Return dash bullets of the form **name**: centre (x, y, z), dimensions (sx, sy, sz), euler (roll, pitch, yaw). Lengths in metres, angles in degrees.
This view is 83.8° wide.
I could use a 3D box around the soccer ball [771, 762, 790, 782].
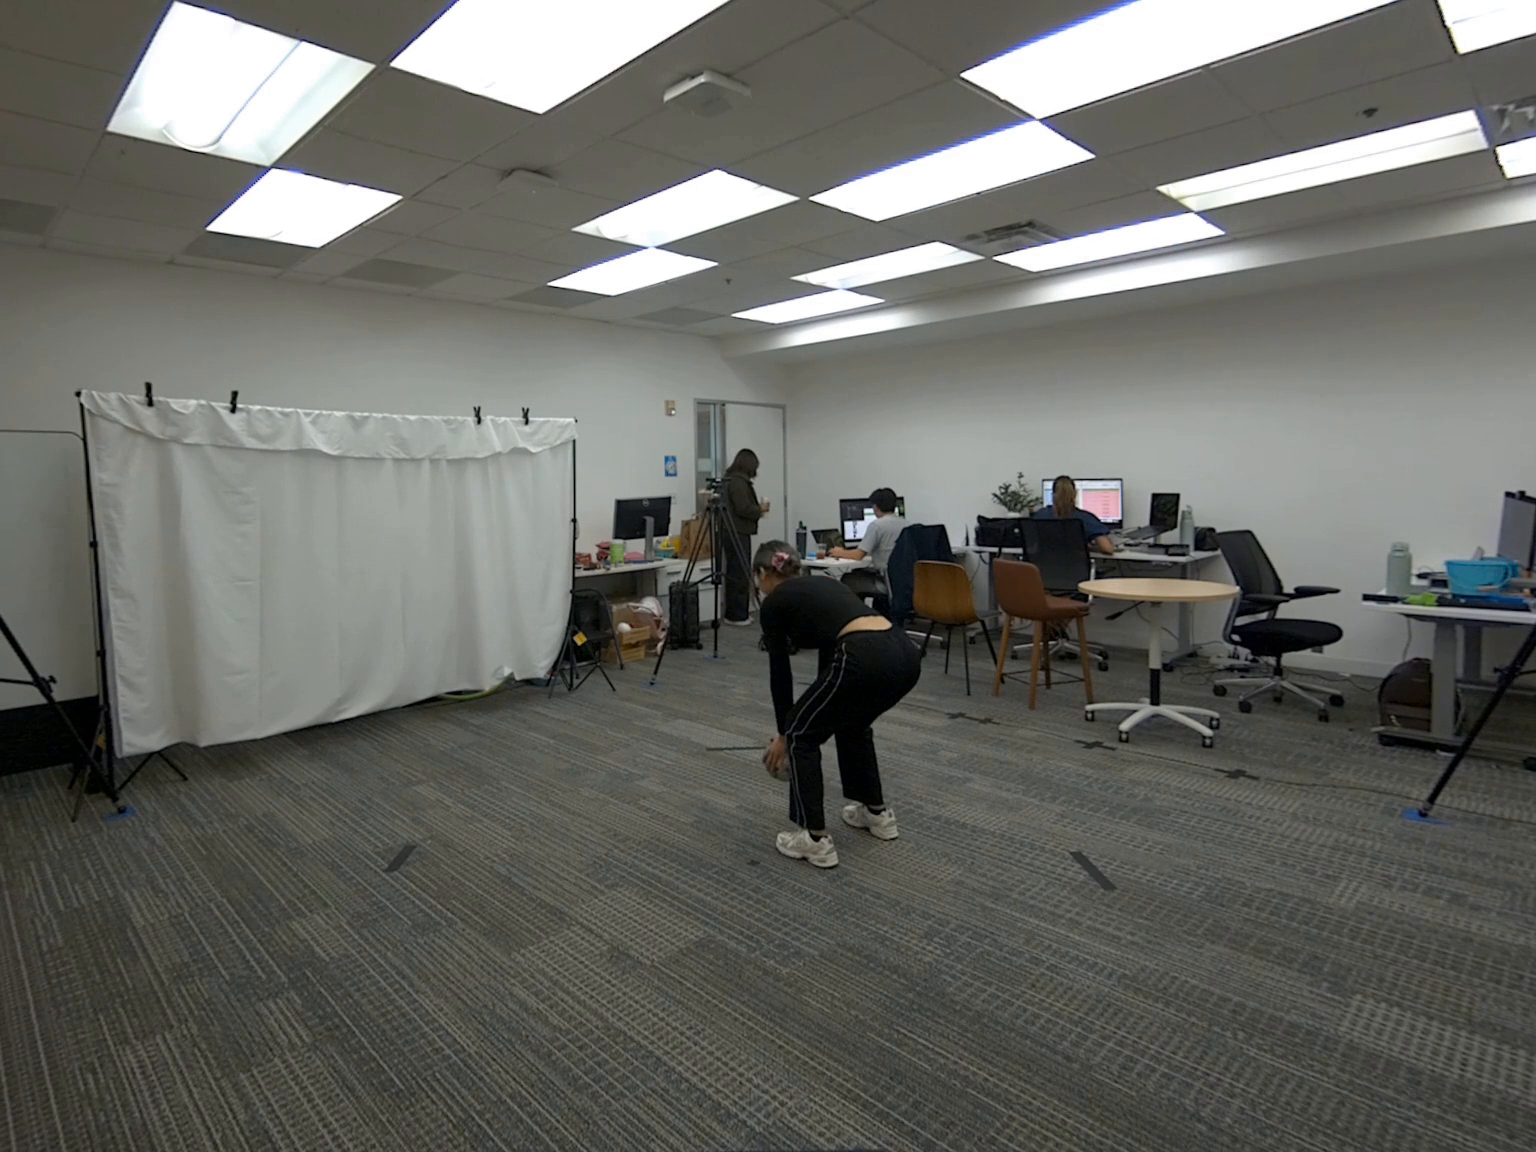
- **soccer ball**: centre (0.086, 0.728, 3.445), dimensions (0.187, 0.187, 0.188), euler (-1, 5, -2)
